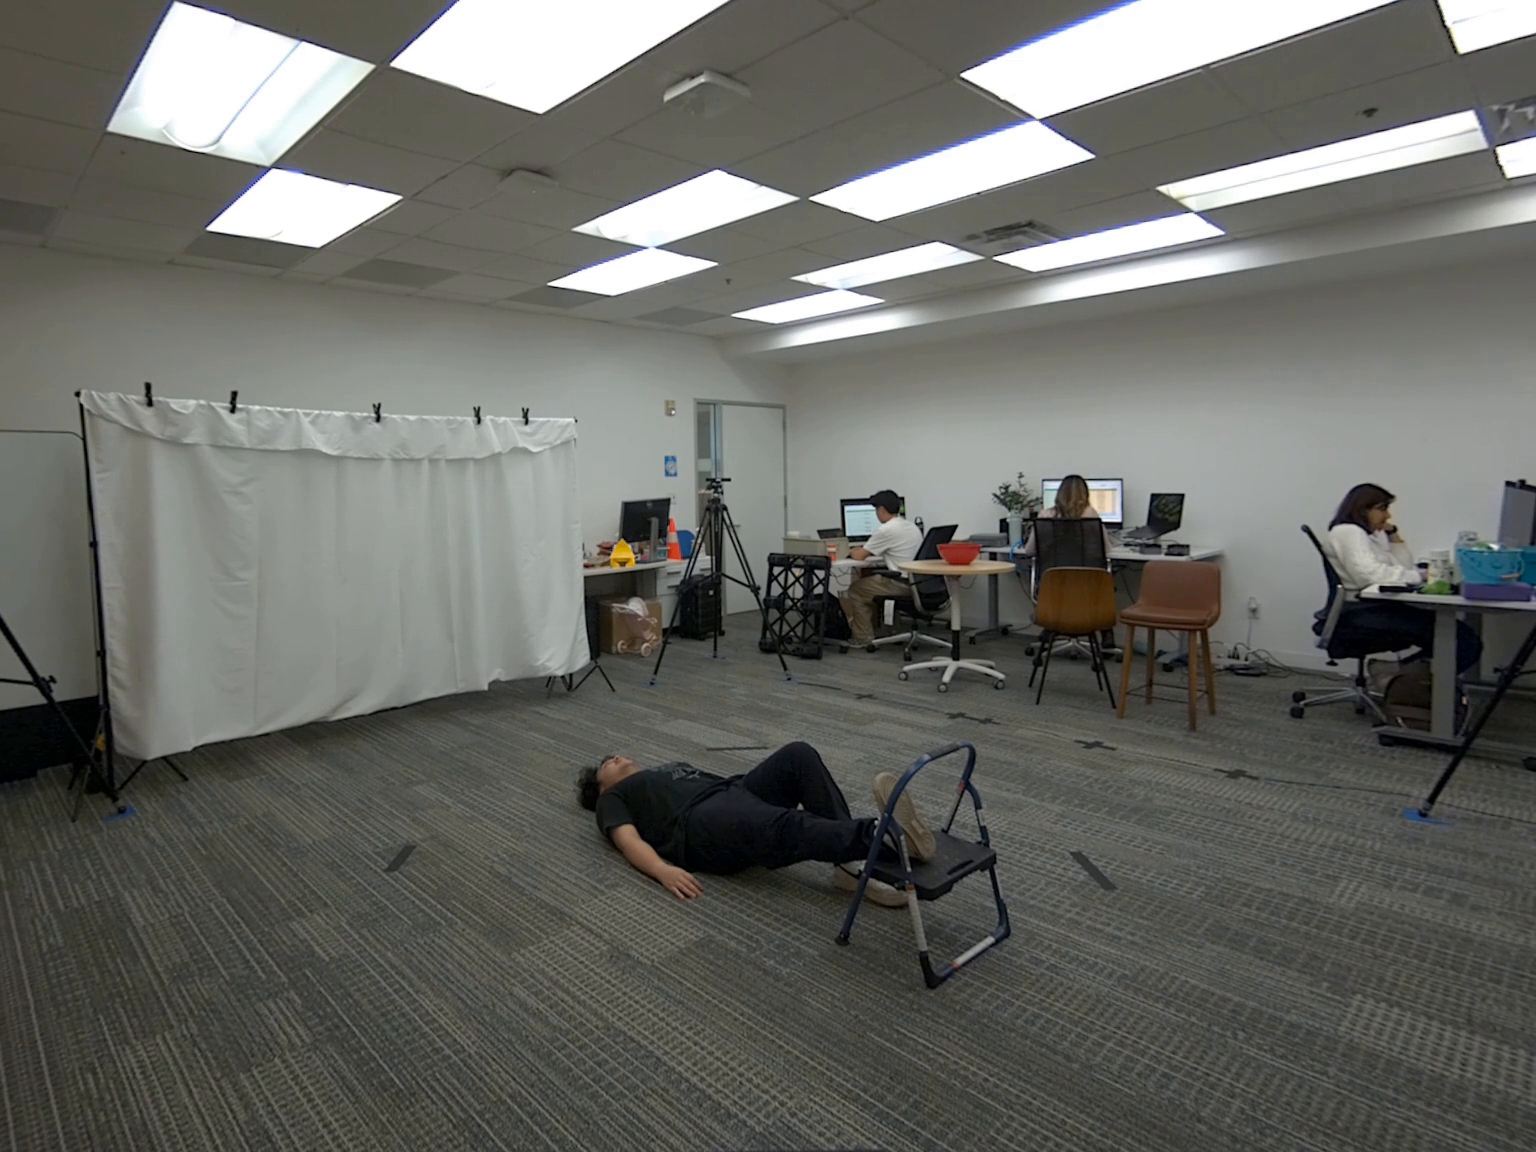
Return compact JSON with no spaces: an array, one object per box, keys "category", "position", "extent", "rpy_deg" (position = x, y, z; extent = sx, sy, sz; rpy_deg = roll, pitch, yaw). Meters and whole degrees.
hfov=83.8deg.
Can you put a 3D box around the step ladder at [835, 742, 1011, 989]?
[{"category":"step ladder","position":[0.475,0.799,2.556],"extent":[0.419,0.603,0.360],"rpy_deg":[-6,6,-44]}]
